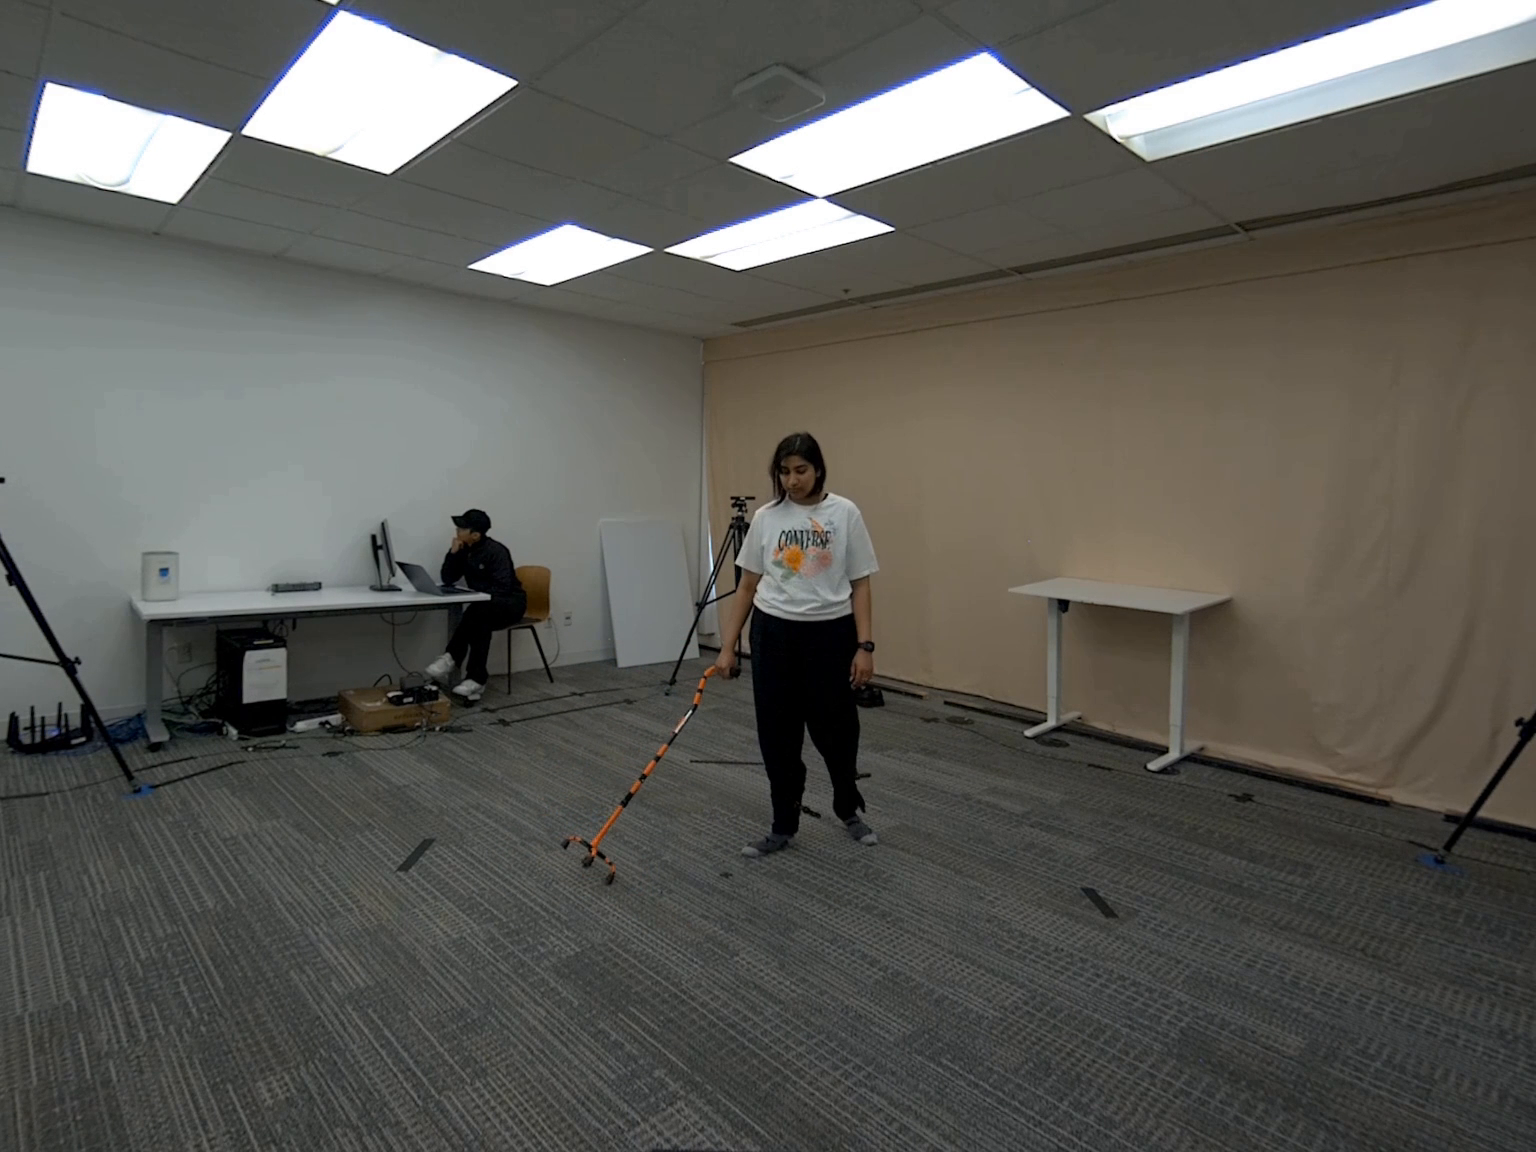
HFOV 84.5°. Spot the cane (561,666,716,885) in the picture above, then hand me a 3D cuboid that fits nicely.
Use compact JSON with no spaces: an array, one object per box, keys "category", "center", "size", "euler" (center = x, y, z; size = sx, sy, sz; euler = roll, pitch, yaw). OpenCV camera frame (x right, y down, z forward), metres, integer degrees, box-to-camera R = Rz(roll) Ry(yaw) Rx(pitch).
[{"category":"cane","center":[-0.422,0.714,3.220],"size":[0.212,0.910,0.147],"euler":[8,-36,49]}]
